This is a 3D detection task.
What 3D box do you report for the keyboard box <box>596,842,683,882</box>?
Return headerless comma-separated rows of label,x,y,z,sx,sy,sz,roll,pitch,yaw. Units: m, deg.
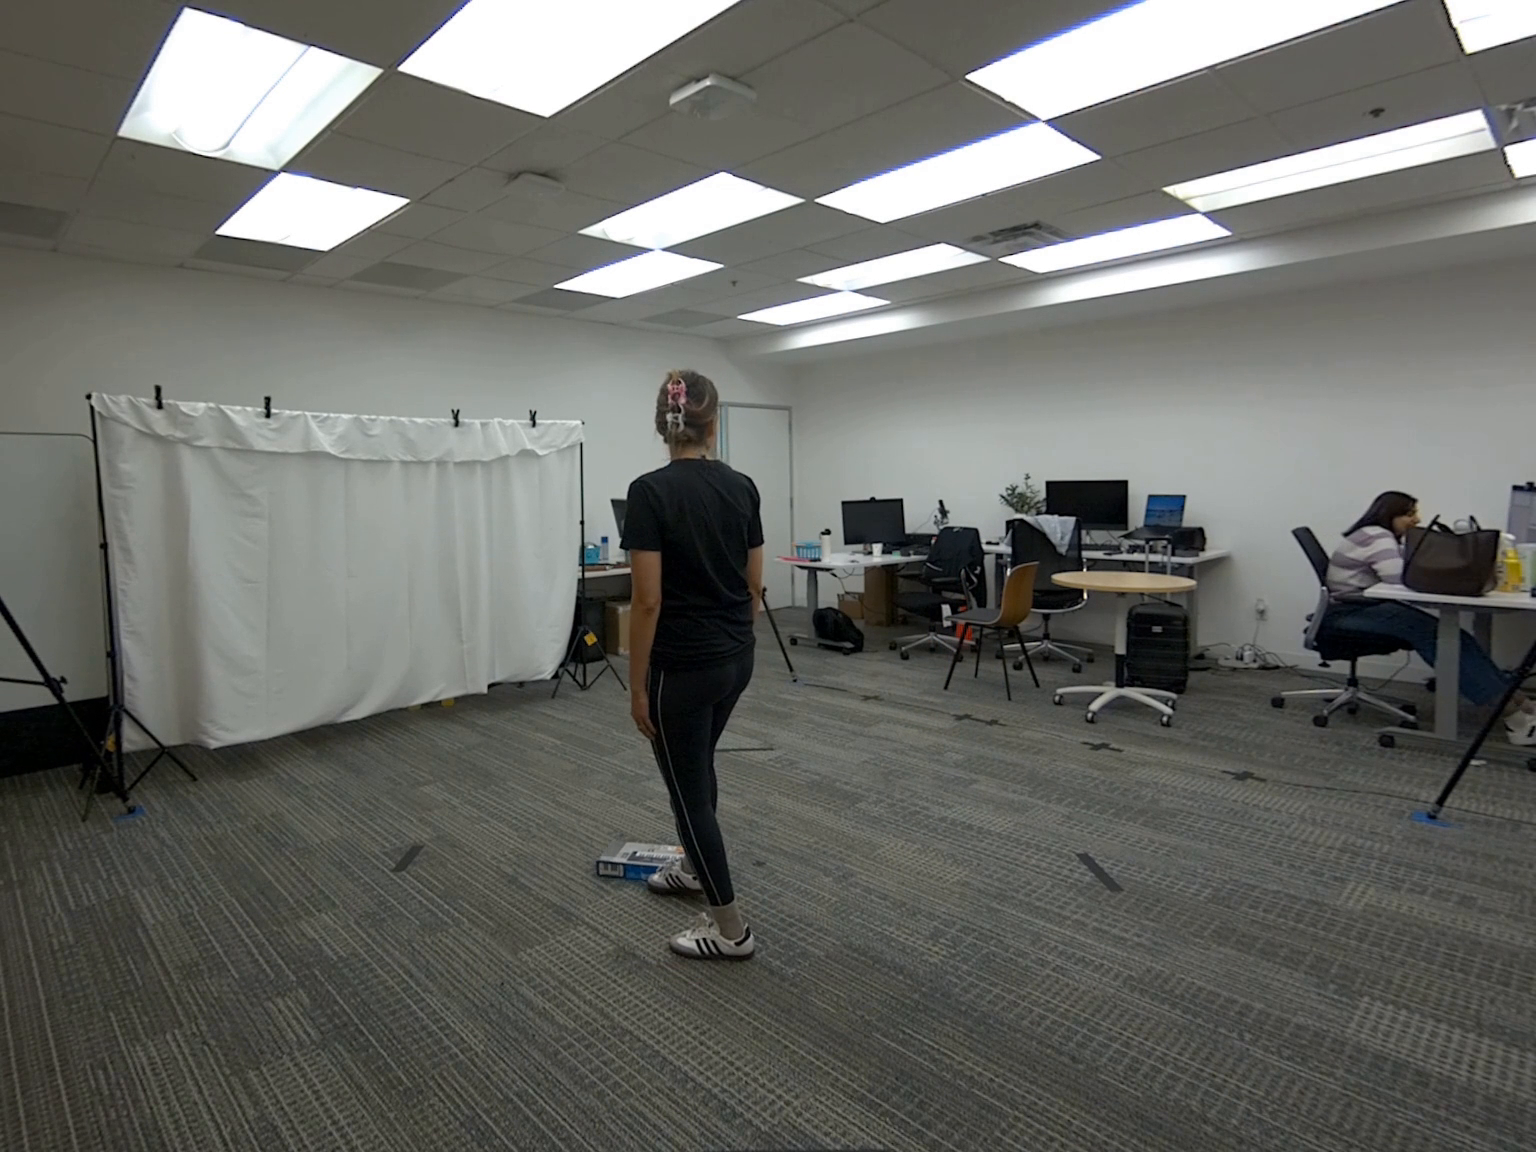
keyboard box,-0.374,1.028,3.063,0.442,0.059,0.174,0,6,13
